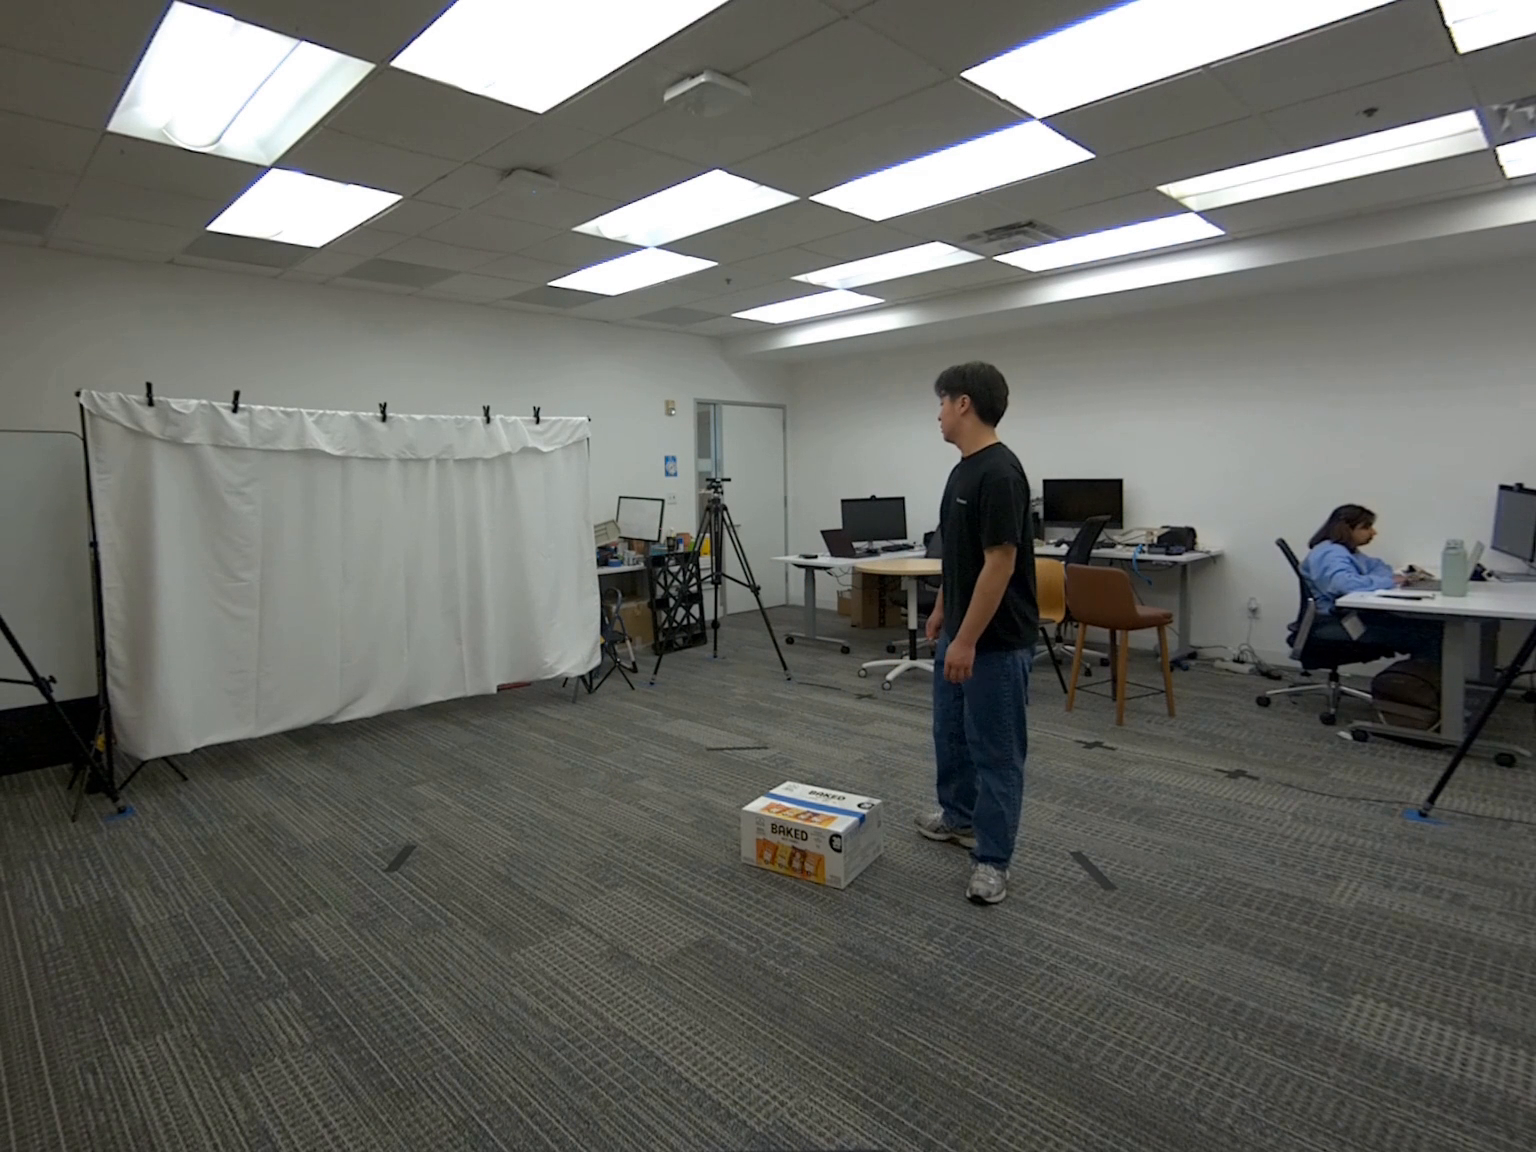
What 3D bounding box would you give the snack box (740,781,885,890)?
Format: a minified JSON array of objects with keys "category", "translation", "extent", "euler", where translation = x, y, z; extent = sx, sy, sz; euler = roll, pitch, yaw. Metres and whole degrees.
[{"category":"snack box","translation":[0.169,0.934,3.123],"extent":[0.416,0.205,0.332],"euler":[2,7,32]}]
